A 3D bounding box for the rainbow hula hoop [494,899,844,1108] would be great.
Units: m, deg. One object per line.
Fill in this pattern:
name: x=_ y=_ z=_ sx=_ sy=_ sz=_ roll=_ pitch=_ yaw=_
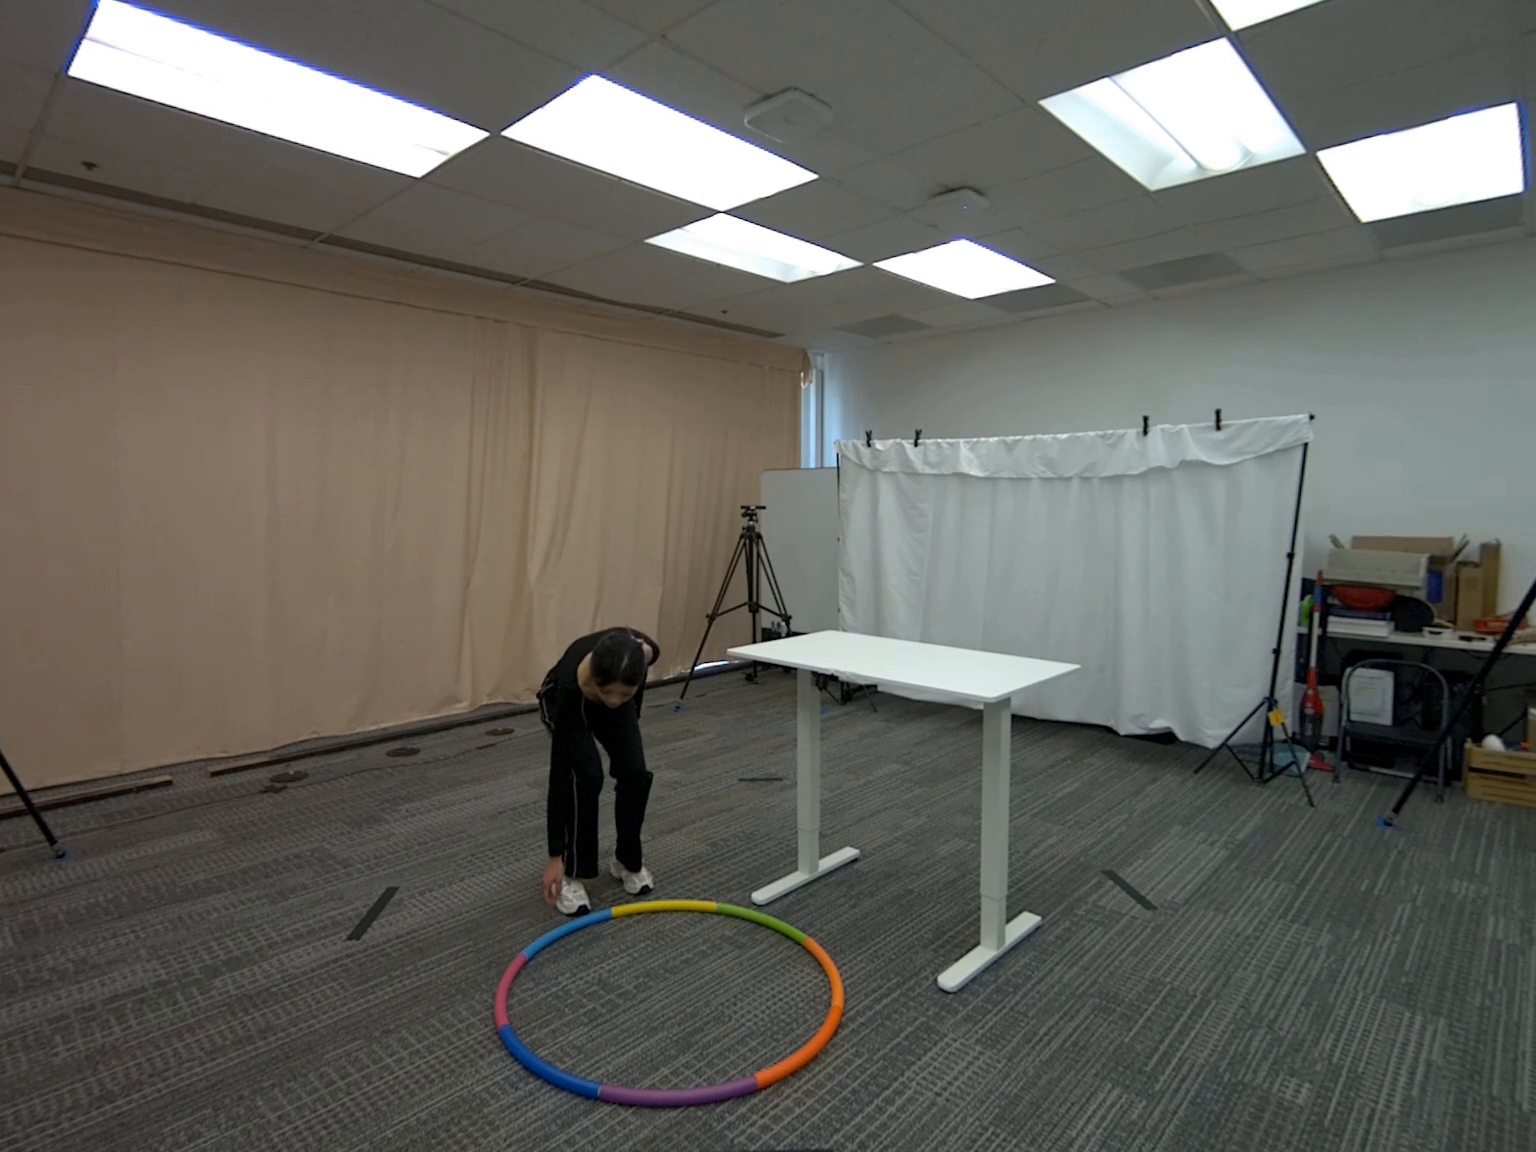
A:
rainbow hula hoop: x=-0.274 y=1.162 z=2.435 sx=0.978 sy=0.035 sz=0.982 roll=-1 pitch=5 yaw=-2
